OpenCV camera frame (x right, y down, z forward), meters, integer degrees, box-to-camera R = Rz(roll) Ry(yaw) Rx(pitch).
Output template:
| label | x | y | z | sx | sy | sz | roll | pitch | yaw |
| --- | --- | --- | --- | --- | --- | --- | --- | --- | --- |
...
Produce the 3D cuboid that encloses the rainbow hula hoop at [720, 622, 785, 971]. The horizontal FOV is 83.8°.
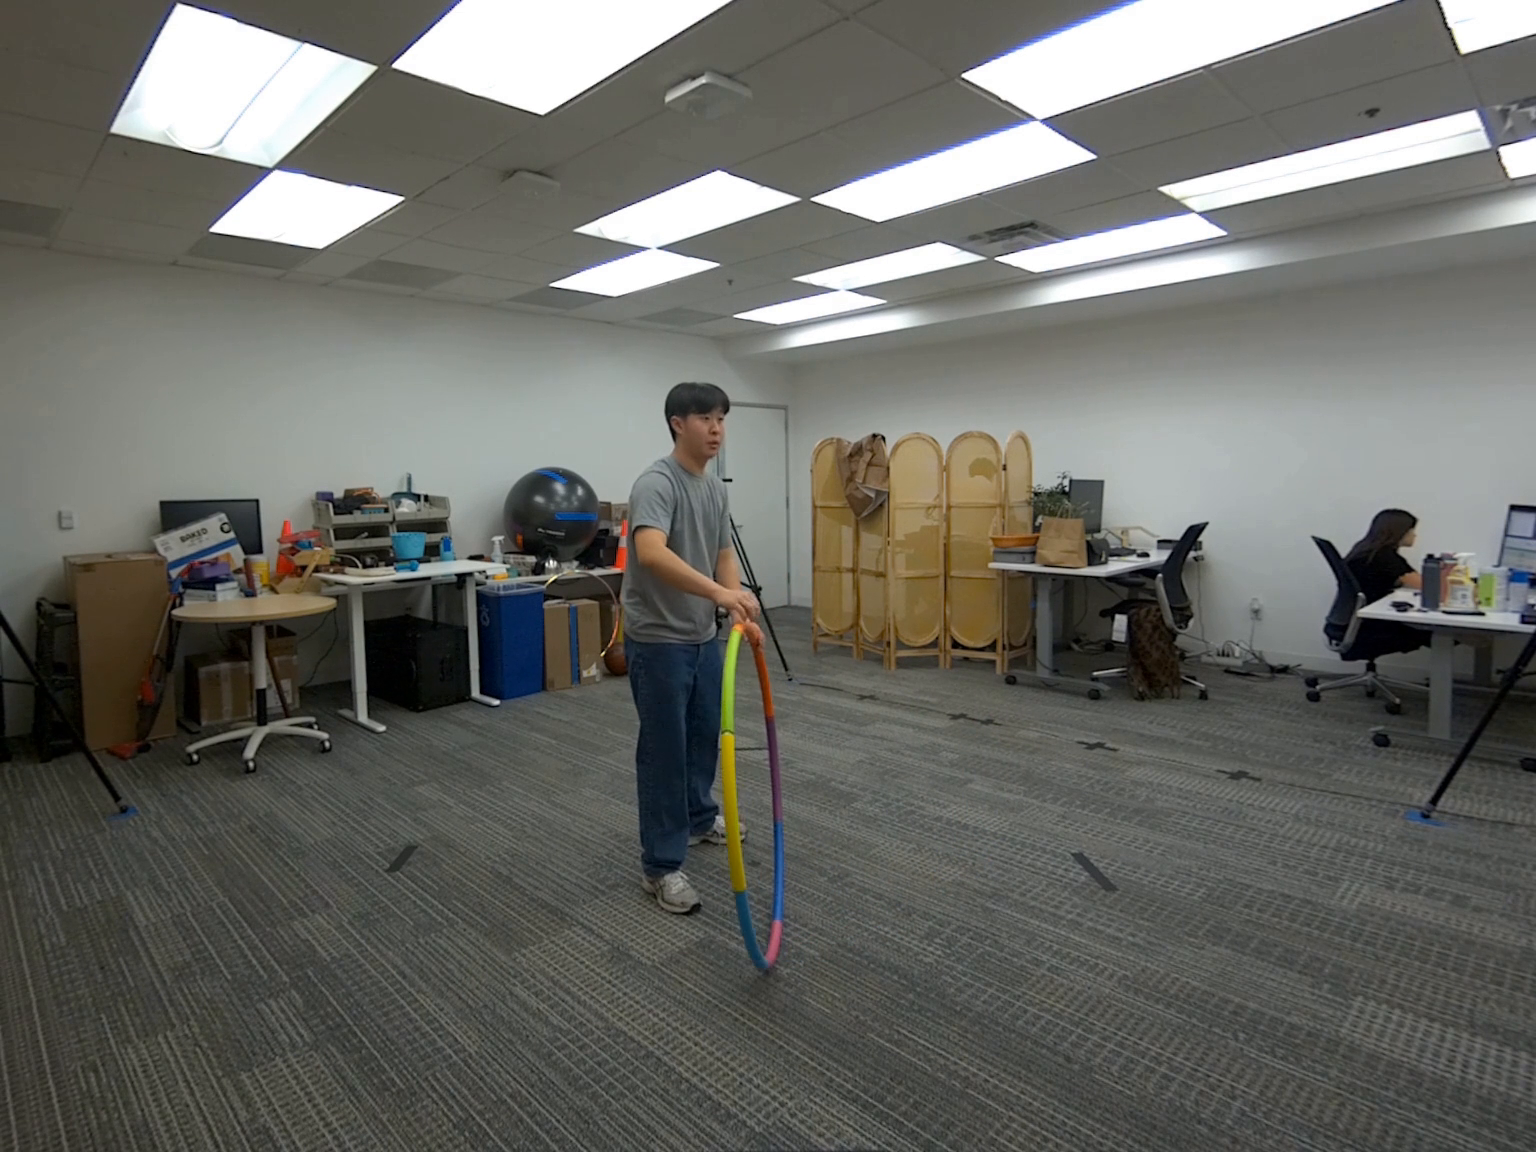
| label | x | y | z | sx | sy | sz | roll | pitch | yaw |
| --- | --- | --- | --- | --- | --- | --- | --- | --- | --- |
| rainbow hula hoop | -0.031 | 0.623 | 2.539 | 0.036 | 0.975 | 0.976 | -6 | 4 | 6 |
